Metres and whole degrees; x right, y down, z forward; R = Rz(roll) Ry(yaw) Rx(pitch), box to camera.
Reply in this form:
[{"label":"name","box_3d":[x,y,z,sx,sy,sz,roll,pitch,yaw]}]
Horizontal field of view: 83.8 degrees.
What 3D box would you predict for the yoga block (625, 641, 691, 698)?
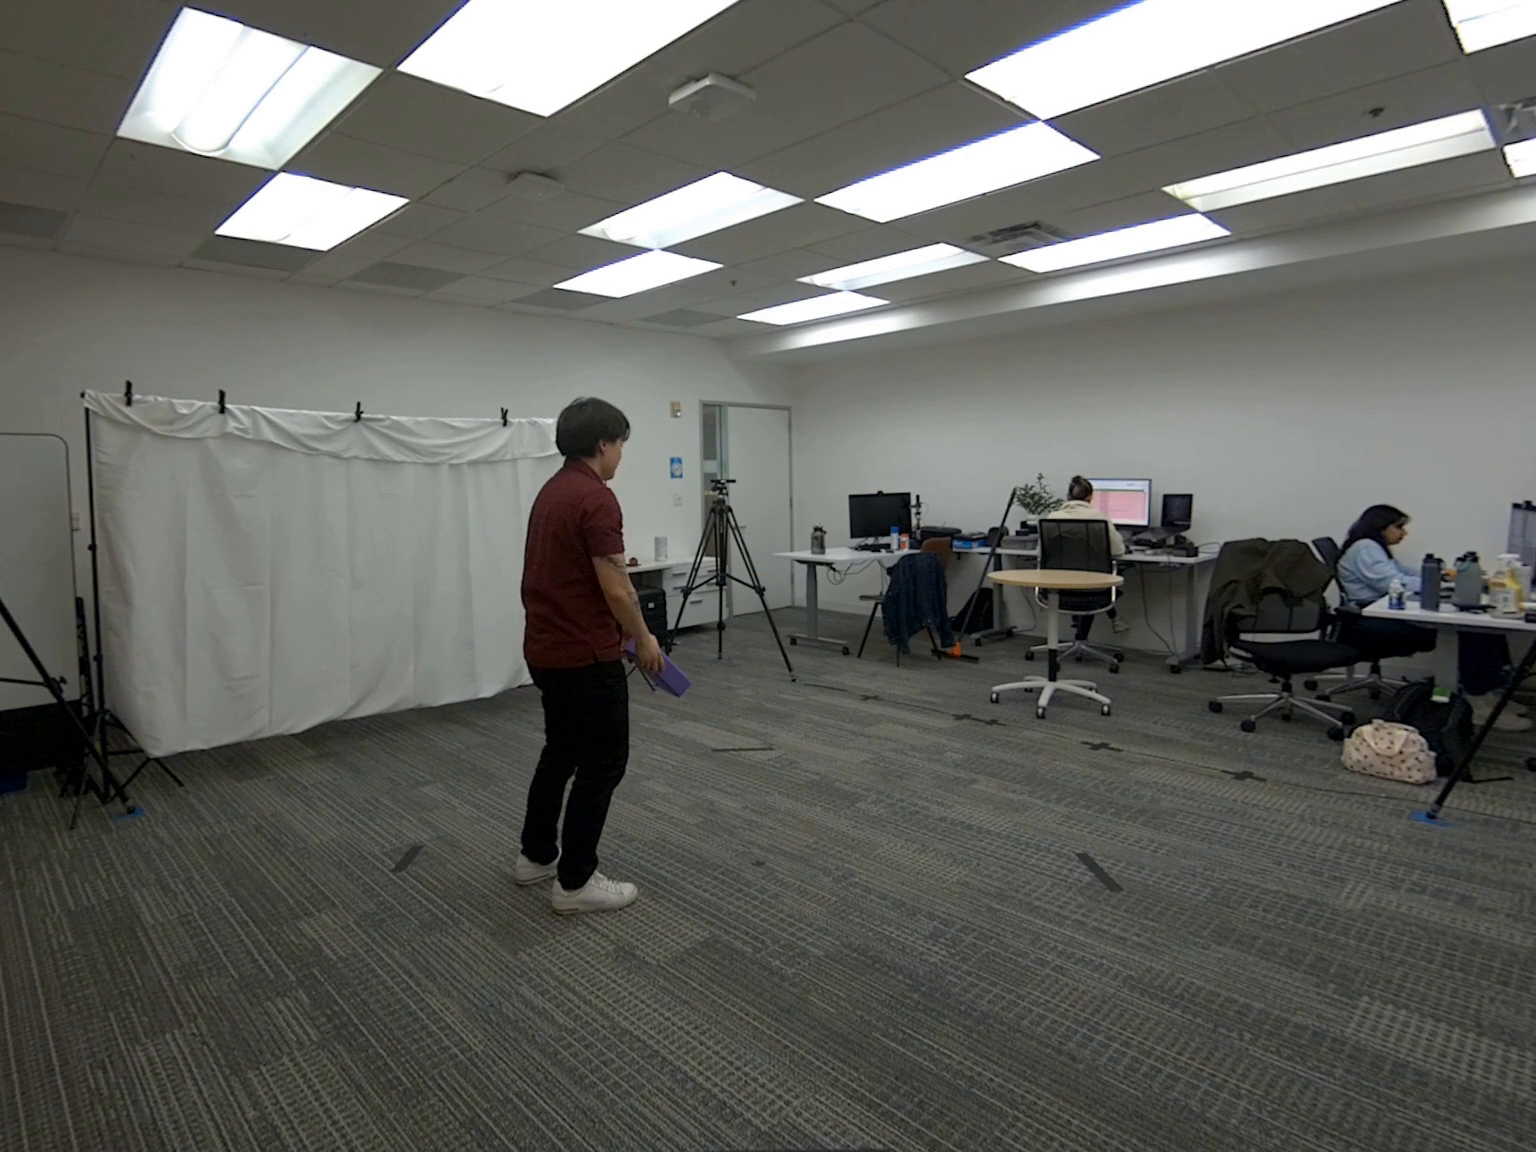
[{"label":"yoga block","box_3d":[-0.392,0.311,2.993,0.076,0.222,0.153,-48,28,-18]}]
